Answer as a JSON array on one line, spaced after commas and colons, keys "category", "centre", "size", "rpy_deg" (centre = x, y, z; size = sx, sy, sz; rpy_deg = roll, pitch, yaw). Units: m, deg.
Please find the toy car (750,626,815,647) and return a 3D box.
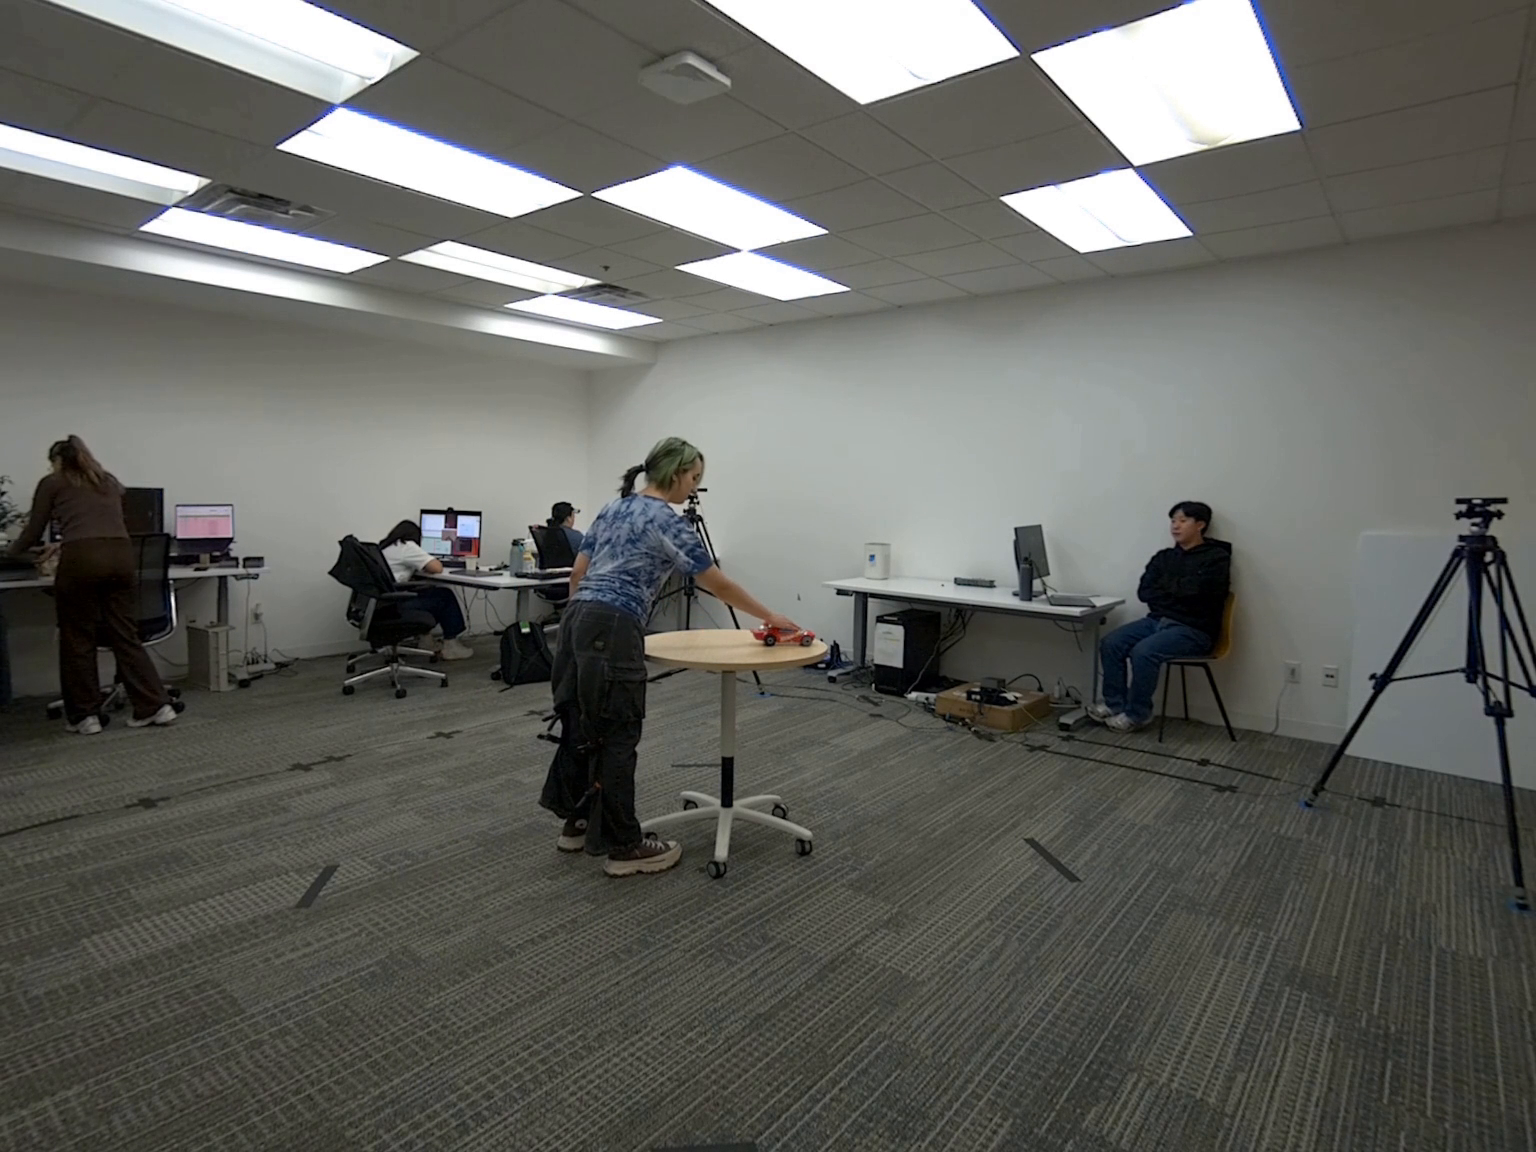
[{"category": "toy car", "centre": [0.036, 0.237, 3.351], "size": [0.253, 0.083, 0.131], "rpy_deg": [11, 5, -4]}]
